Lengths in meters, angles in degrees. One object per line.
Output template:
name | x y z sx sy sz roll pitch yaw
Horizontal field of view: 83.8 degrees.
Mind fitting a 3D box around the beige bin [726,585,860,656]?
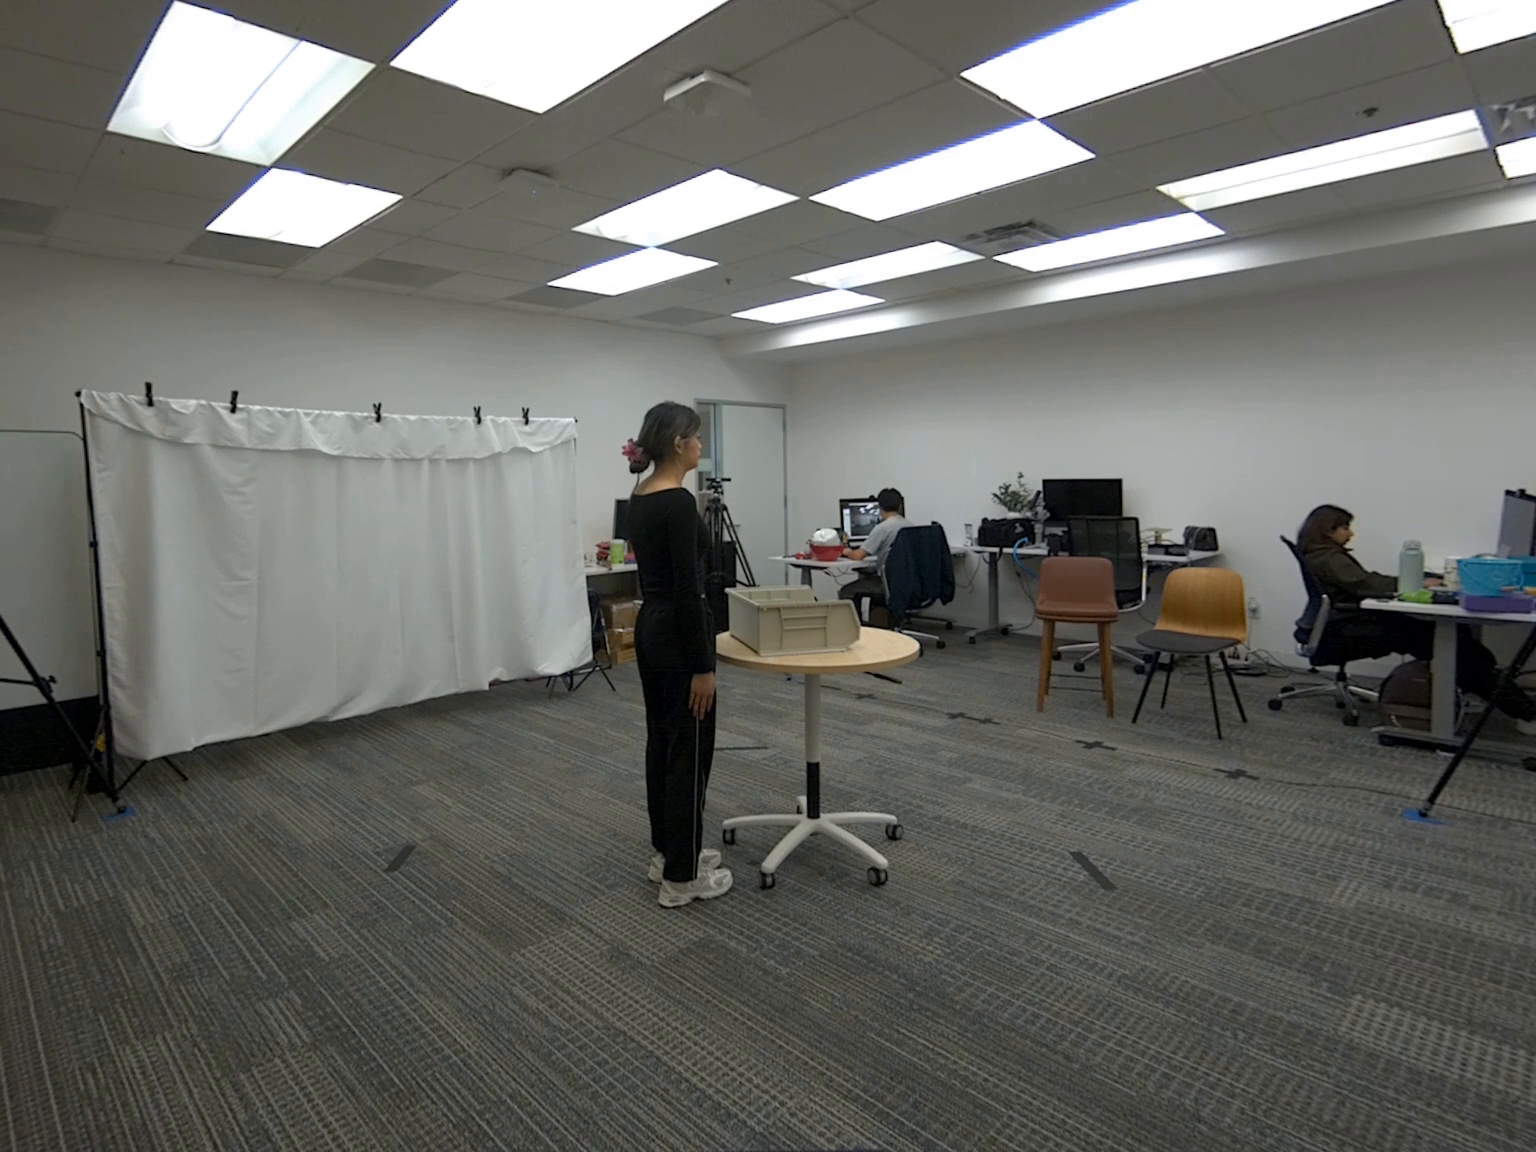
beige bin | 0.078 0.156 3.117 0.372 0.188 0.431 -3 7 -16
